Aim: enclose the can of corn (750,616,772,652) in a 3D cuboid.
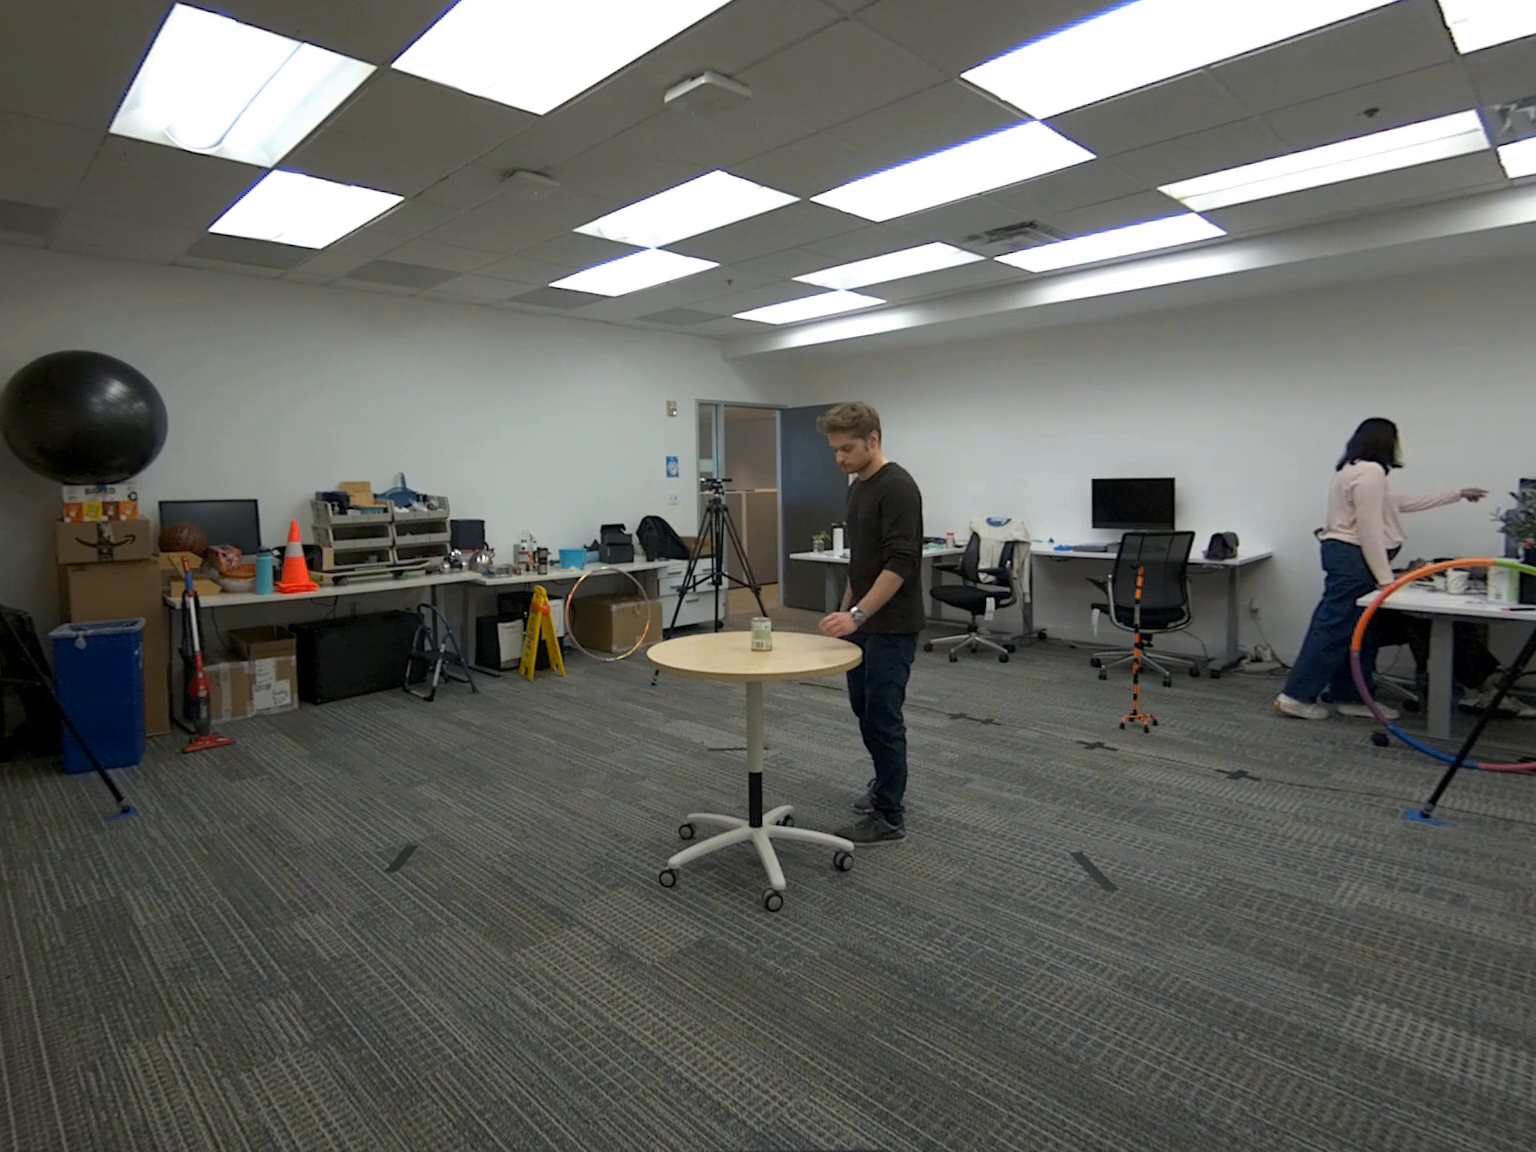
[{"bbox_3d":[-0.018,0.209,3.058,0.074,0.111,0.074,1,4,-2],"label":"can of corn"}]
